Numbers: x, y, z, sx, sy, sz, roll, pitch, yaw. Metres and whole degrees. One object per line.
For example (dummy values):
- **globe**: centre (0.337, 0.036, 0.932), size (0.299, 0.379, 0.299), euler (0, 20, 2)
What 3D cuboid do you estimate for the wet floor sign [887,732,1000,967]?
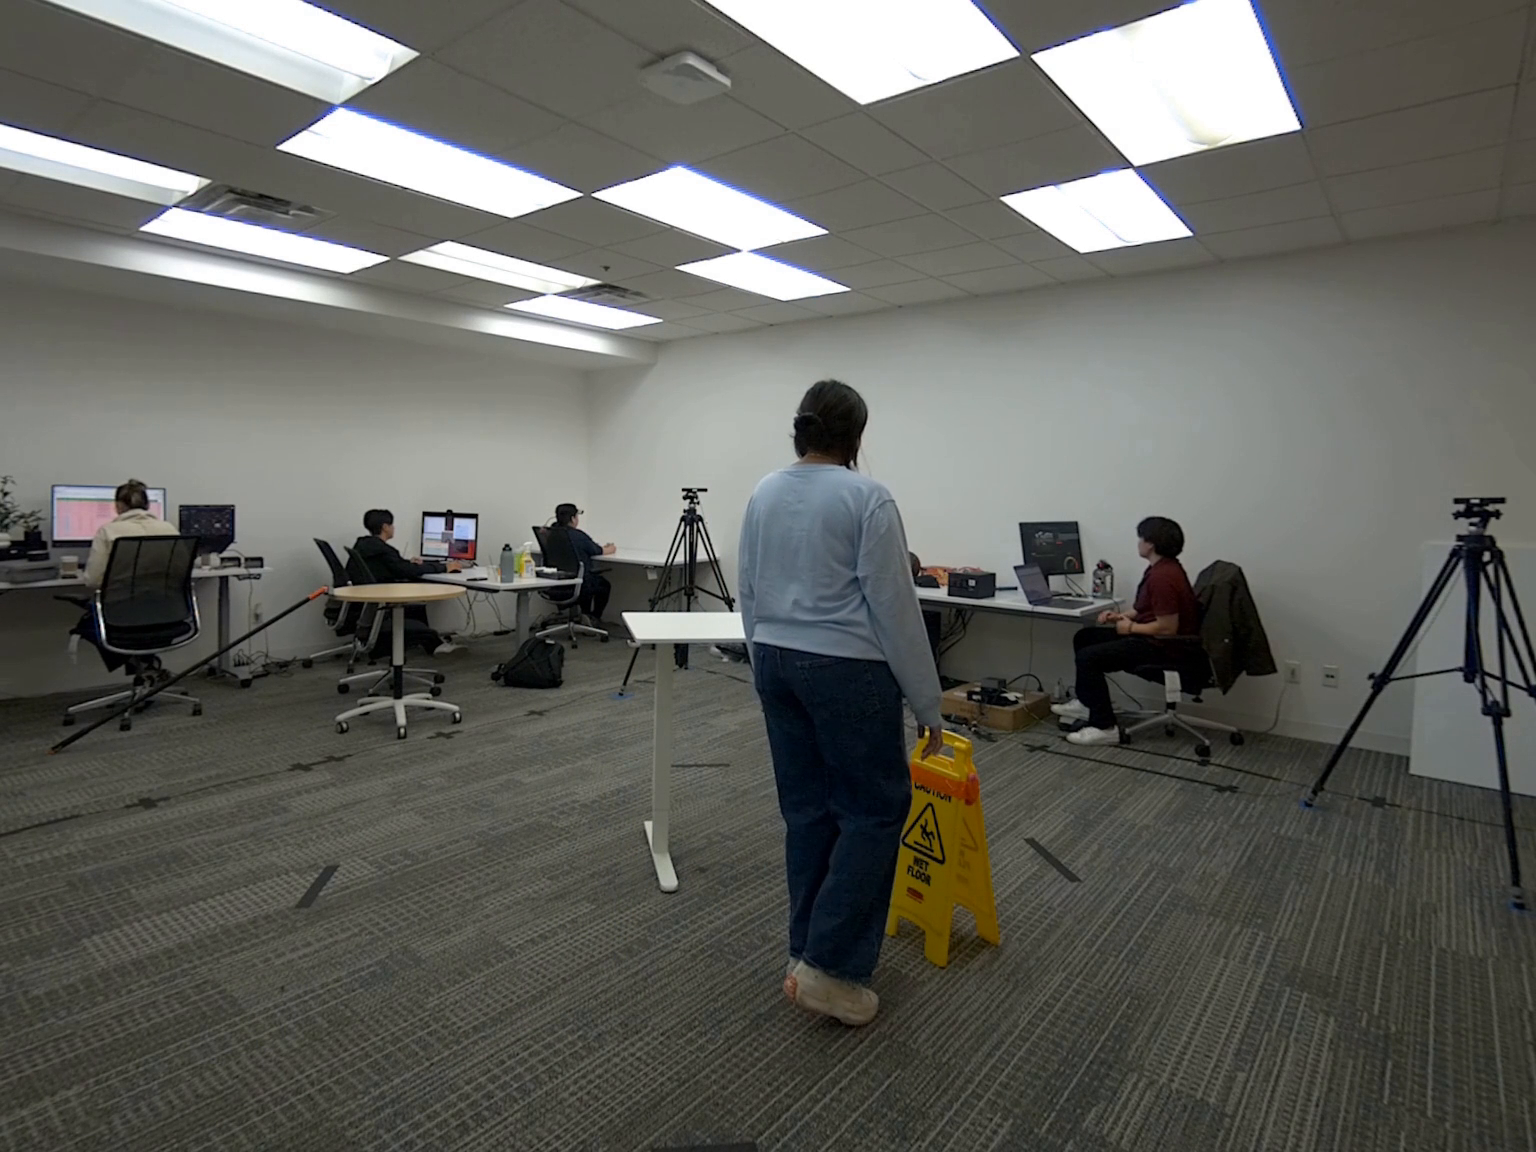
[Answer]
- **wet floor sign**: centre (0.534, 0.807, 2.659), size (0.281, 0.644, 0.291), euler (1, 3, -35)
